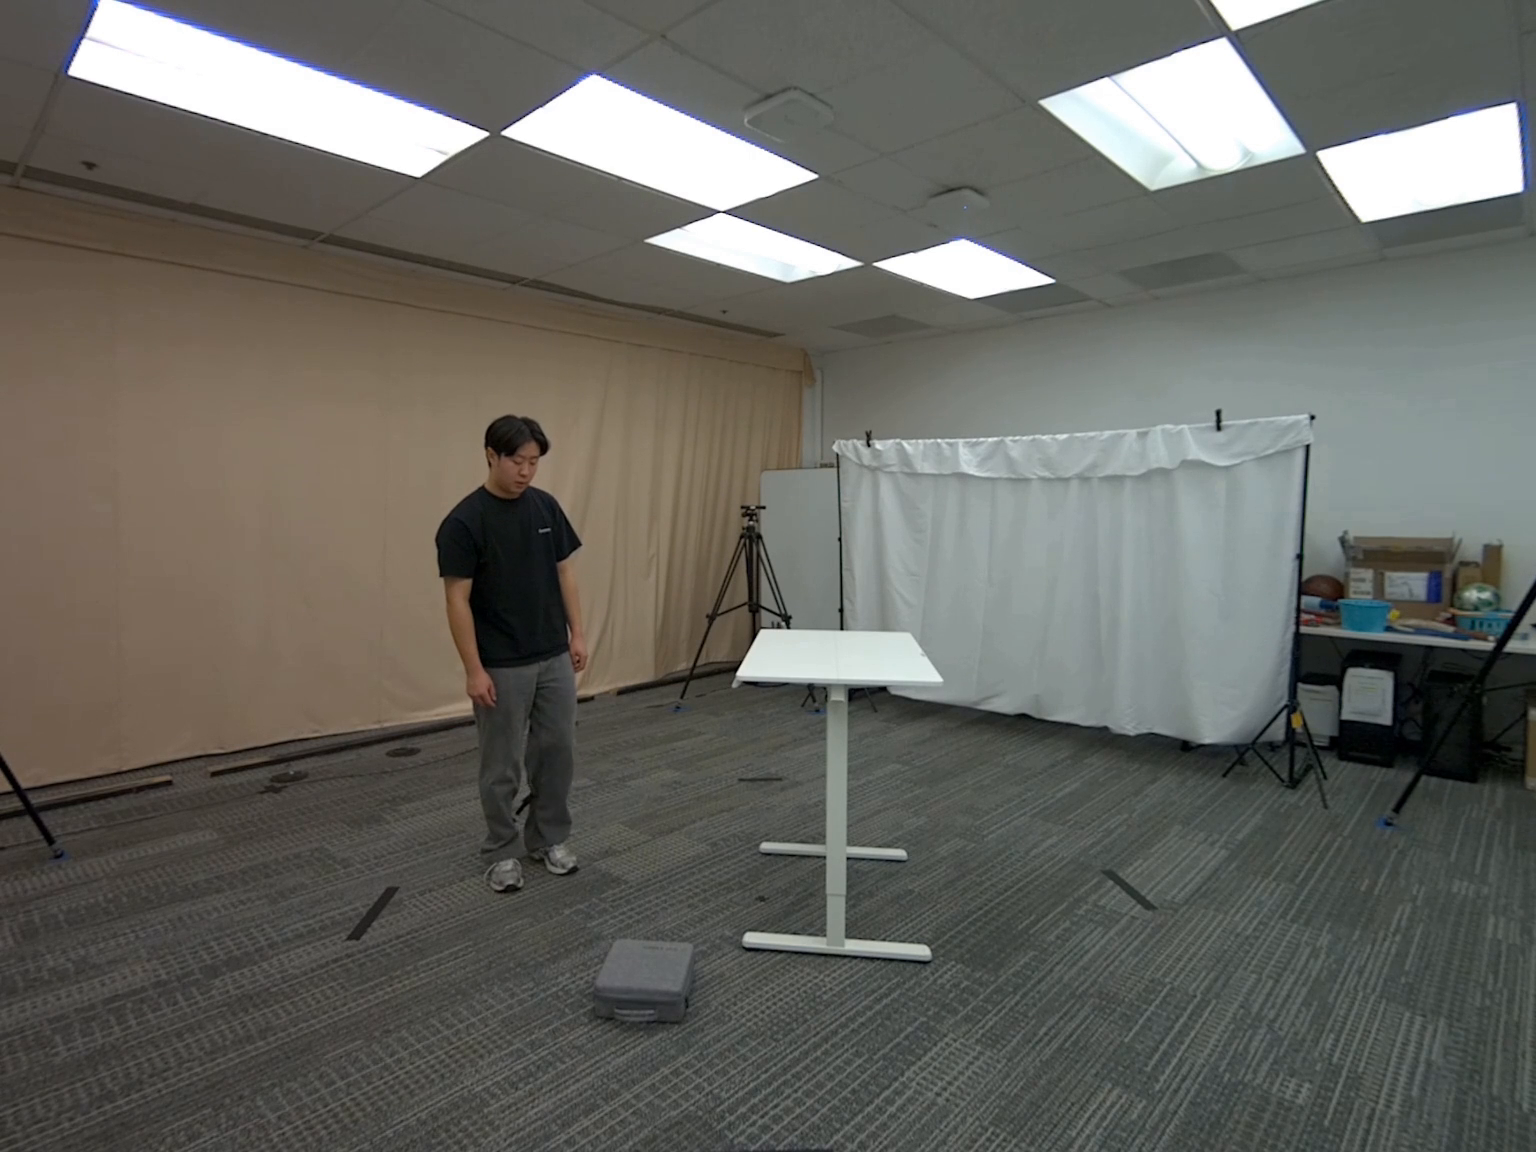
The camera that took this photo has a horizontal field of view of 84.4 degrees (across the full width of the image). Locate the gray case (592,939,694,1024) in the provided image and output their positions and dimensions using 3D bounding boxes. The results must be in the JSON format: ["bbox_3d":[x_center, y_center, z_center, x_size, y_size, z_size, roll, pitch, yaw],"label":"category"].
[{"bbox_3d":[-0.340,1.142,2.372,0.265,0.103,0.286,1,5,6],"label":"gray case"}]
